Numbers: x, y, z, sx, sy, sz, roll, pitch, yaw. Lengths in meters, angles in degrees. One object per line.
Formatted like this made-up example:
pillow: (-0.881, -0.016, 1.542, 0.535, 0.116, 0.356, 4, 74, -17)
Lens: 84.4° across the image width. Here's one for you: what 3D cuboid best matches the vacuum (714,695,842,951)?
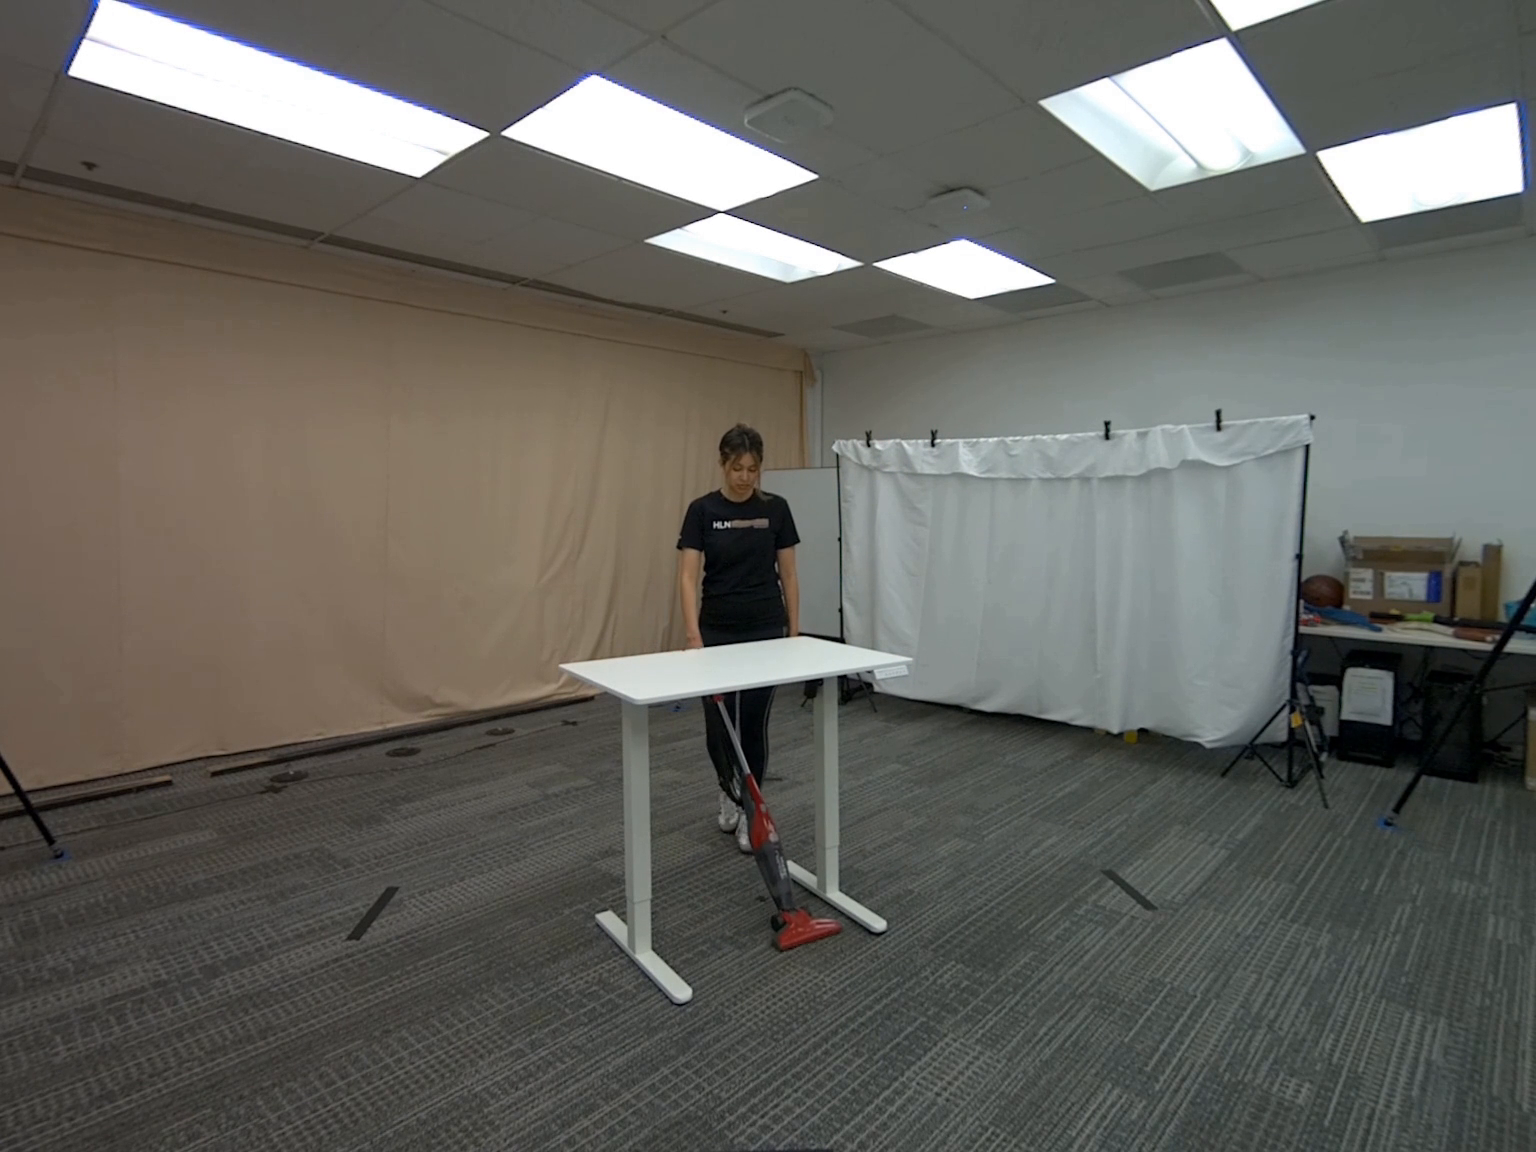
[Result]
vacuum: (-0.074, 0.753, 3.017, 0.246, 1.079, 0.143, -6, -38, -27)
